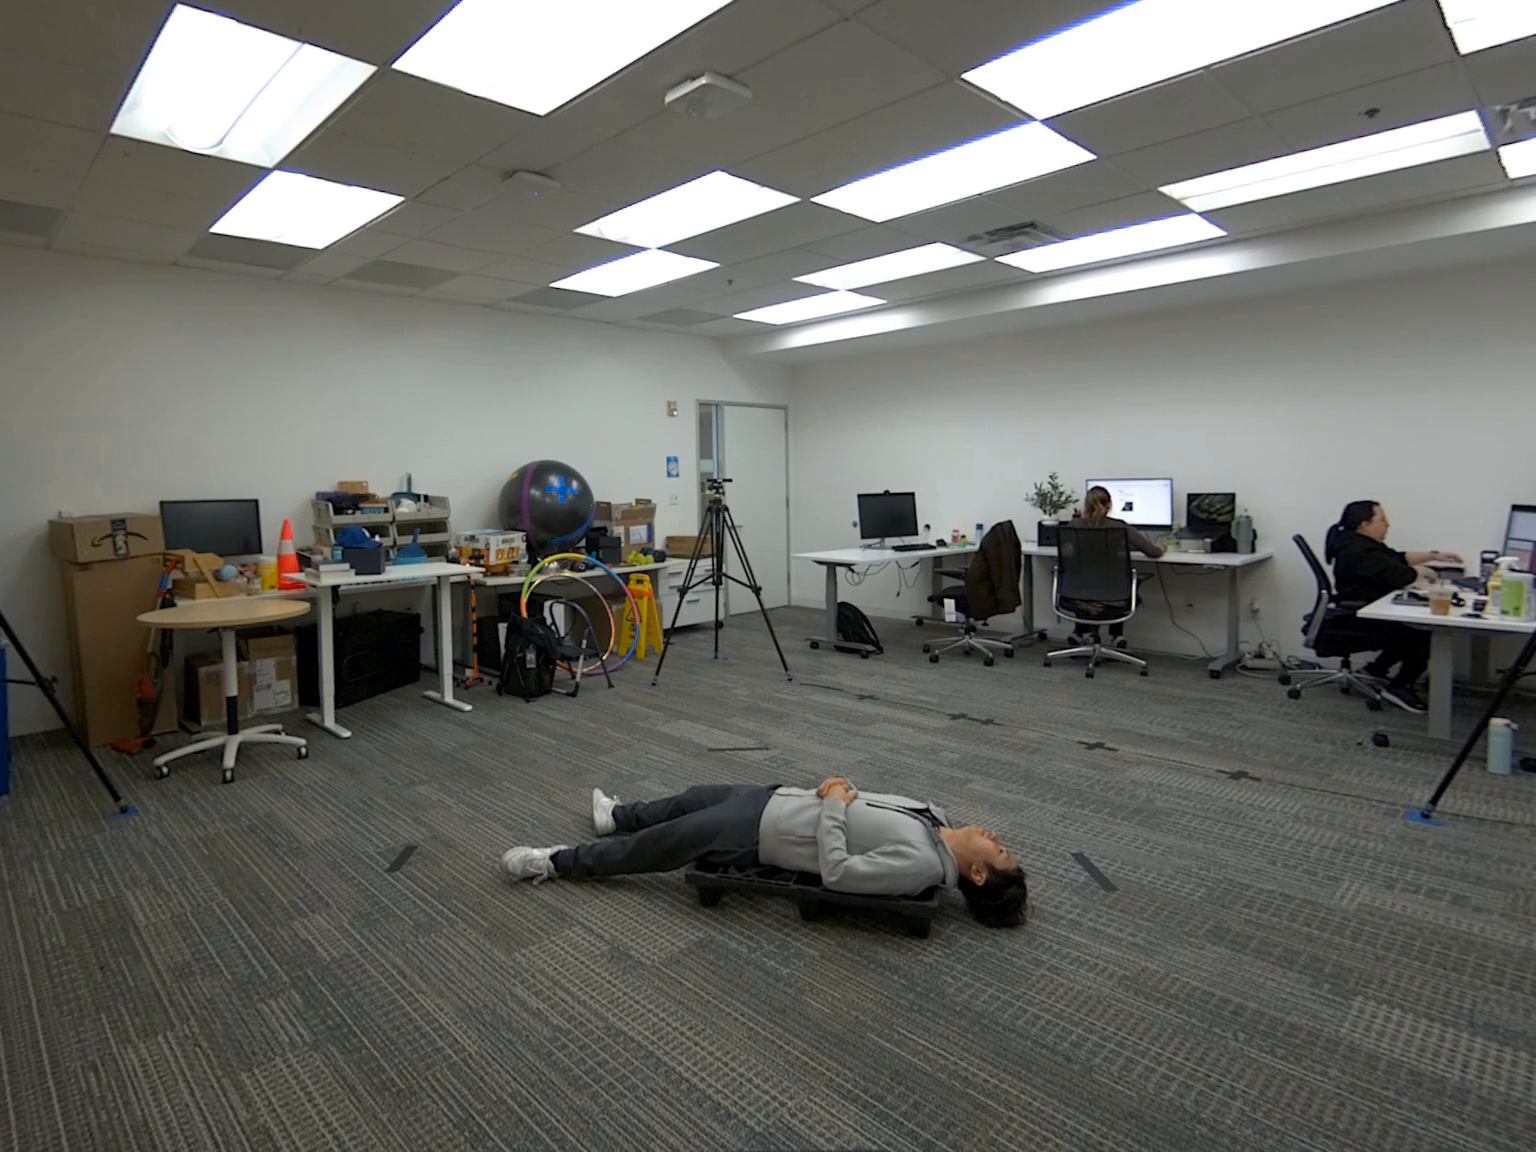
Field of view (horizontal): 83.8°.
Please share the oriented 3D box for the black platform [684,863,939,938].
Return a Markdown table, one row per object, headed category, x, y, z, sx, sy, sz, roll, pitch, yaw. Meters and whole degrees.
| category | x | y | z | sx | sy | sz | roll | pitch | yaw |
| --- | --- | --- | --- | --- | --- | --- | --- | --- | --- |
| black platform | 0.191 | 0.988 | 2.916 | 0.821 | 0.142 | 0.597 | 3 | 7 | 18 |
